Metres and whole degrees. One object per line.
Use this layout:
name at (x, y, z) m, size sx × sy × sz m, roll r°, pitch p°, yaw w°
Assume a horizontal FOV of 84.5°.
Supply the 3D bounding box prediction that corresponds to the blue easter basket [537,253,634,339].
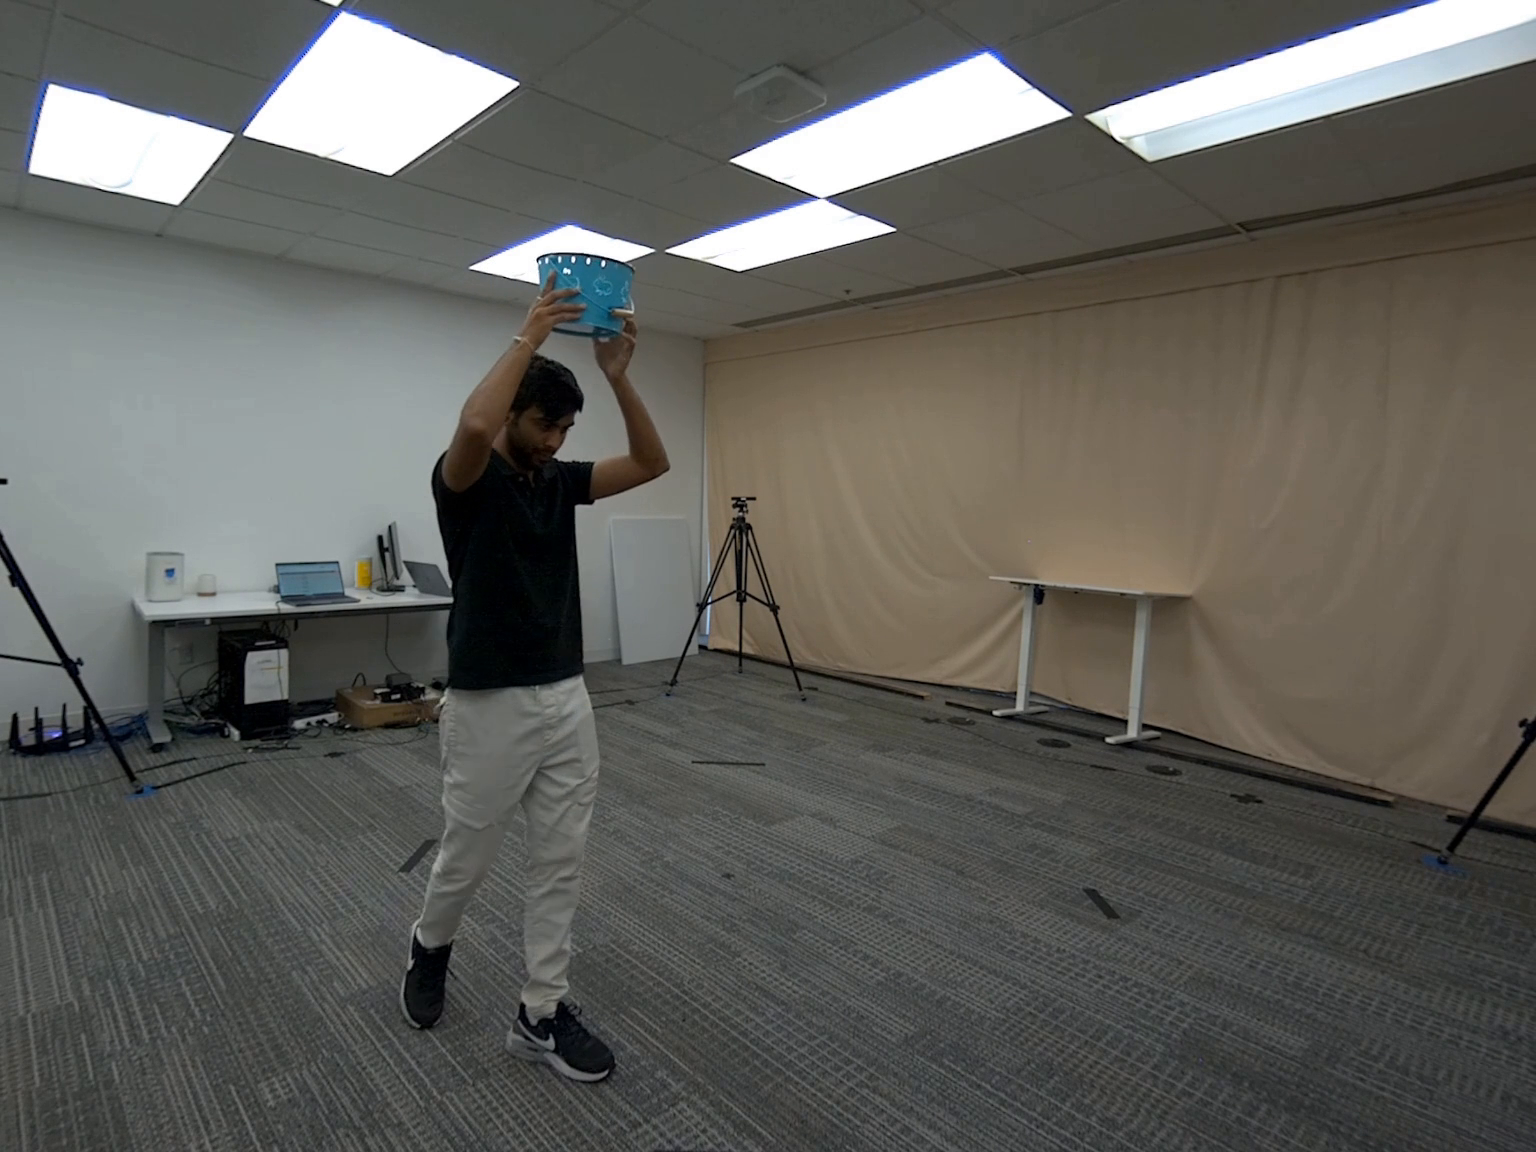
blue easter basket at (-0.446, -0.651, 1.950) m, size 0.243 × 0.155 × 0.245 m, roll 4°, pitch 9°, yaw -2°
